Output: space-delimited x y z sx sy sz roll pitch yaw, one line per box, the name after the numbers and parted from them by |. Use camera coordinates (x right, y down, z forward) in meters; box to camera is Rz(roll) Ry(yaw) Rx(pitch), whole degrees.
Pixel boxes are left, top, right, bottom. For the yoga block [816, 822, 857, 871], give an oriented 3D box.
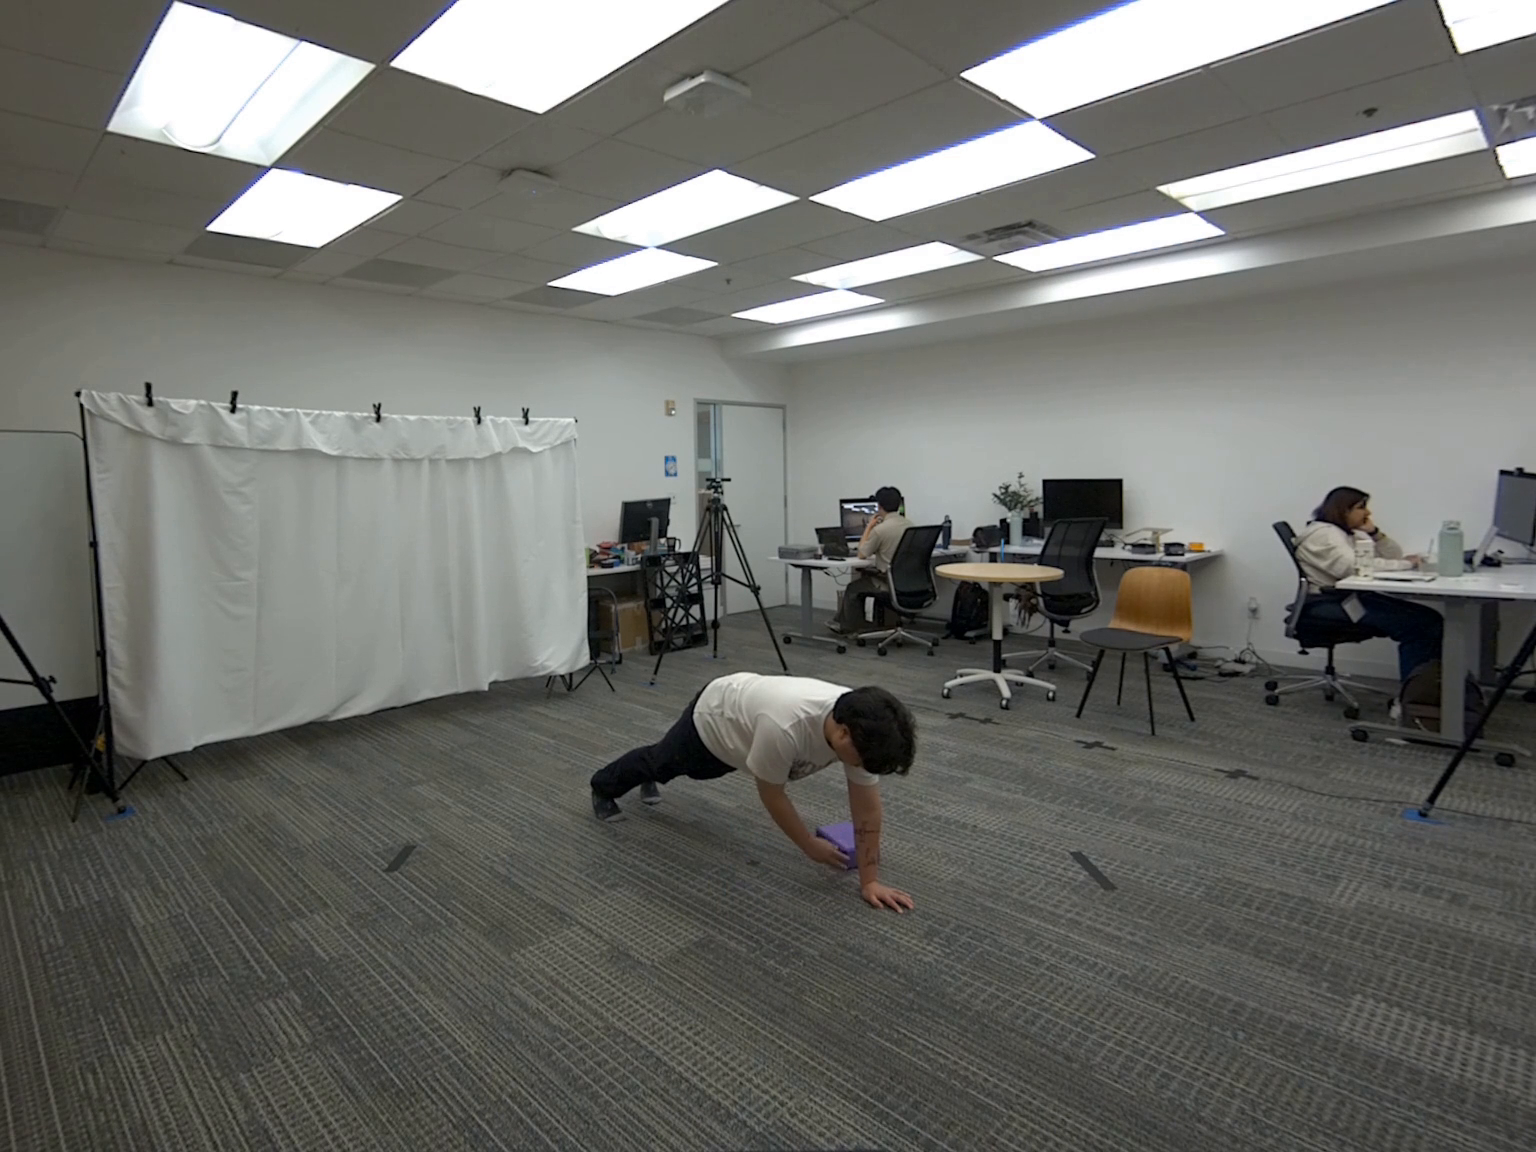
0.297 0.990 3.155 0.146 0.076 0.235 -6 7 -22 | yoga block
